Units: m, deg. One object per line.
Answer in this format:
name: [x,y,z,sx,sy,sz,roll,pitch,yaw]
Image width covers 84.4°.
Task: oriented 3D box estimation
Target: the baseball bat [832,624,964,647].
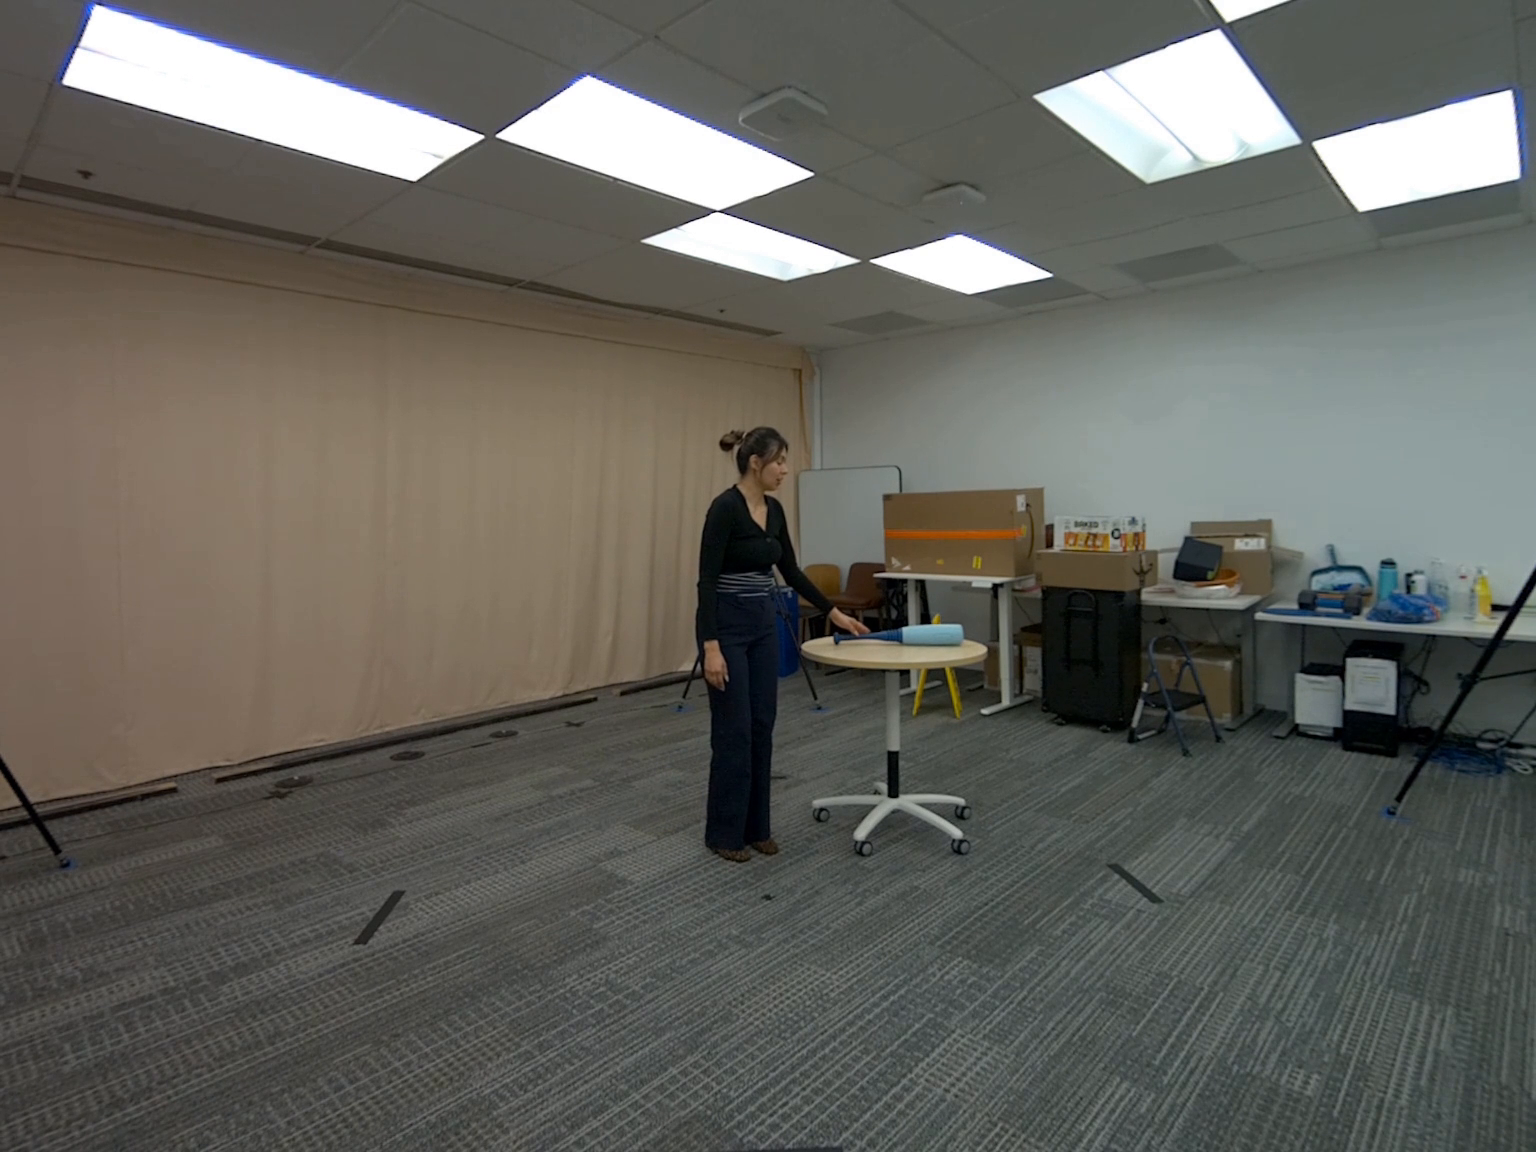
baseball bat: [0.550,0.255,3.591,0.548,0.089,0.088,-1,4,9]
